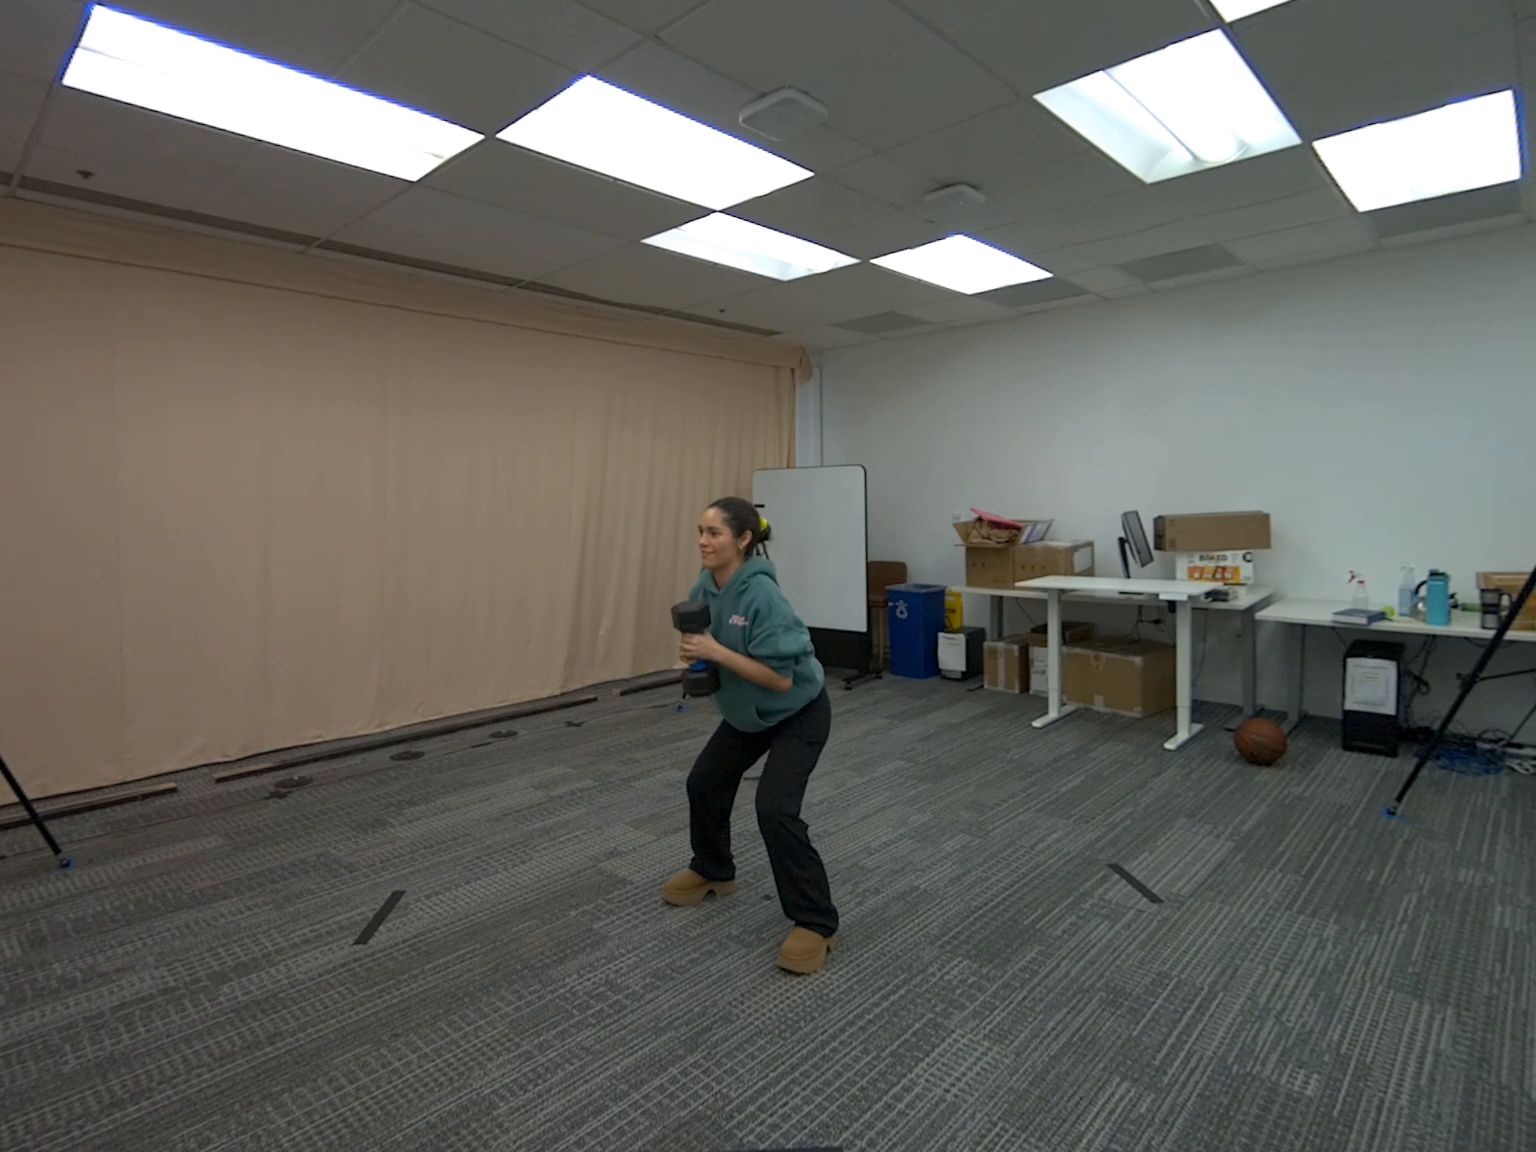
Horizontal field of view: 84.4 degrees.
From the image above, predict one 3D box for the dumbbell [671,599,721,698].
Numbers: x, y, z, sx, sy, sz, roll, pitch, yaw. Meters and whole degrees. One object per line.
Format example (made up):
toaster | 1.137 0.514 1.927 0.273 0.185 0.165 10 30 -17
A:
dumbbell | -0.219 0.231 2.655 0.124 0.291 0.109 -8 9 6
